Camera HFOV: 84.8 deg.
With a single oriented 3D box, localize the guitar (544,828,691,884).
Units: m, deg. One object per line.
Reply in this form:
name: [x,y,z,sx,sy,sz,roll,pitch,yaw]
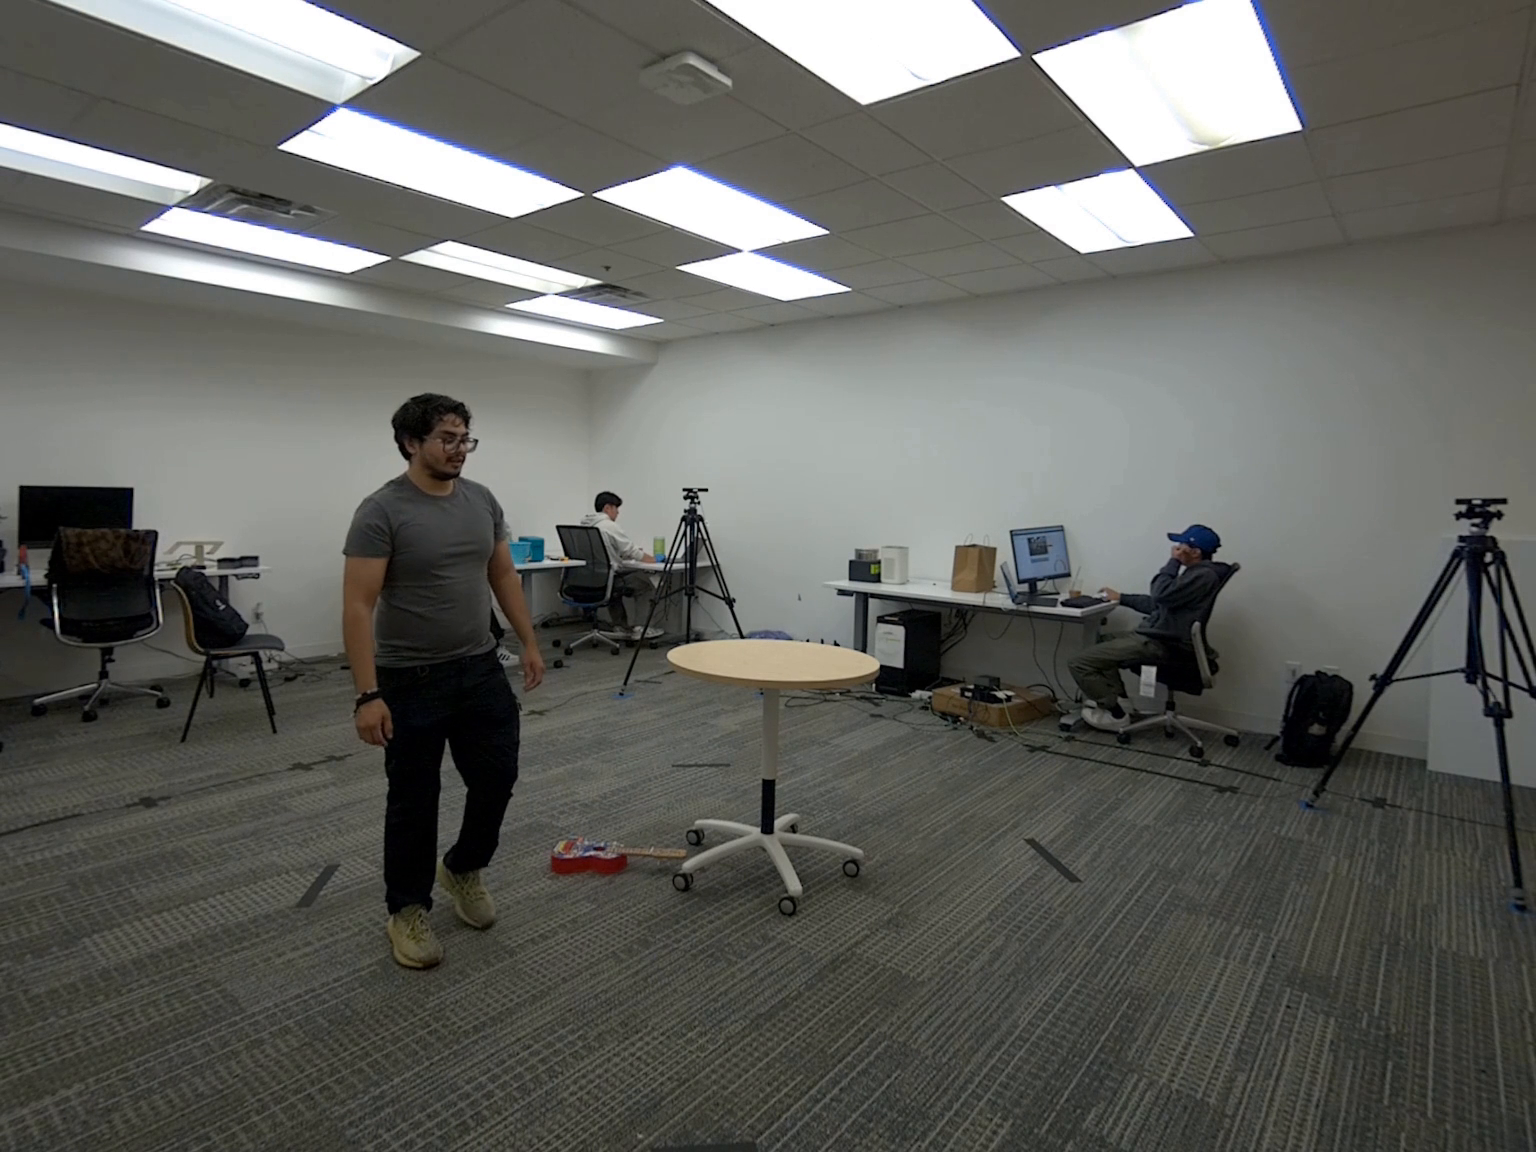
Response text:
guitar: [-0.555,1.024,3.096,0.505,0.070,0.191,2,5,14]
